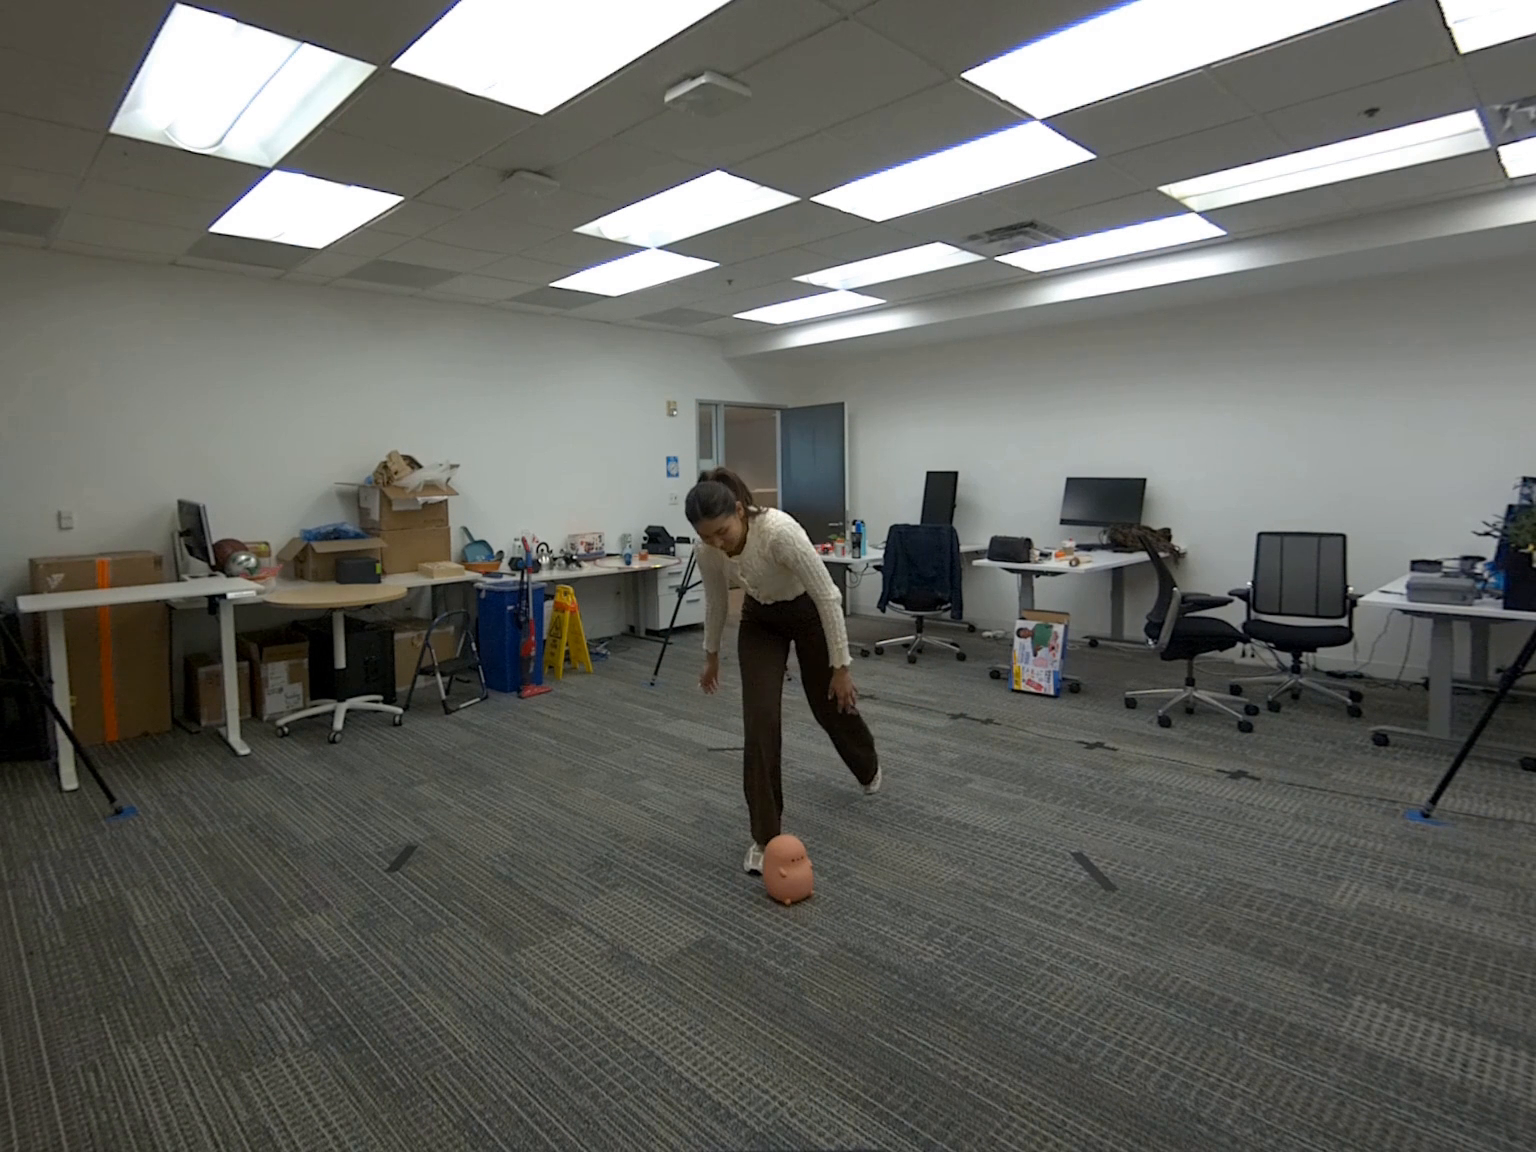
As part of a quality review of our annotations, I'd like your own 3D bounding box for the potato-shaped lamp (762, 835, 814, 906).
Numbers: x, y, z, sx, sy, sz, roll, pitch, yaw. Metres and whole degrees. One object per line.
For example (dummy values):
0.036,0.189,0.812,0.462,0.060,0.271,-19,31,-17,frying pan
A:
0.068,0.971,2.861,0.160,0.197,0.176,-3,4,-33,potato-shaped lamp
